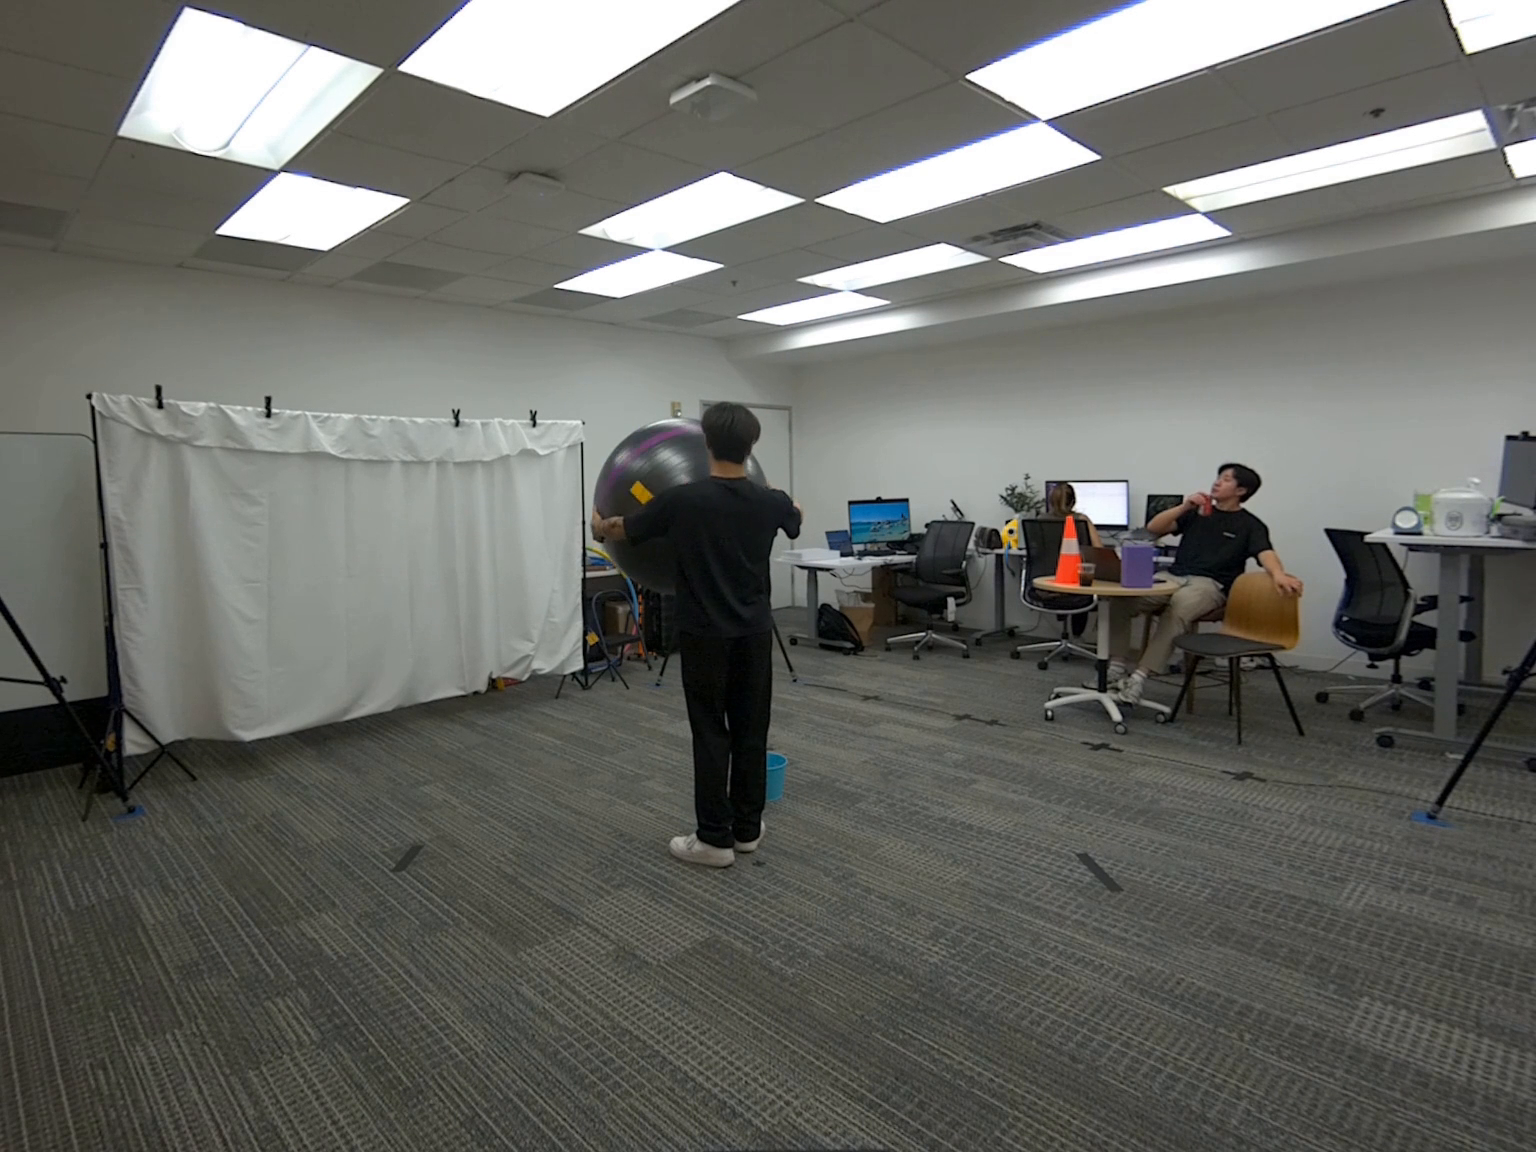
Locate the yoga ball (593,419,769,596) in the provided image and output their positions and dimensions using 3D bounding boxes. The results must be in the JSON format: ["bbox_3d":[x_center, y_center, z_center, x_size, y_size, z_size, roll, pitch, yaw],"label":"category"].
[{"bbox_3d":[-0.369,-0.295,3.677,0.757,0.755,0.762,-1,5,-2],"label":"yoga ball"}]
